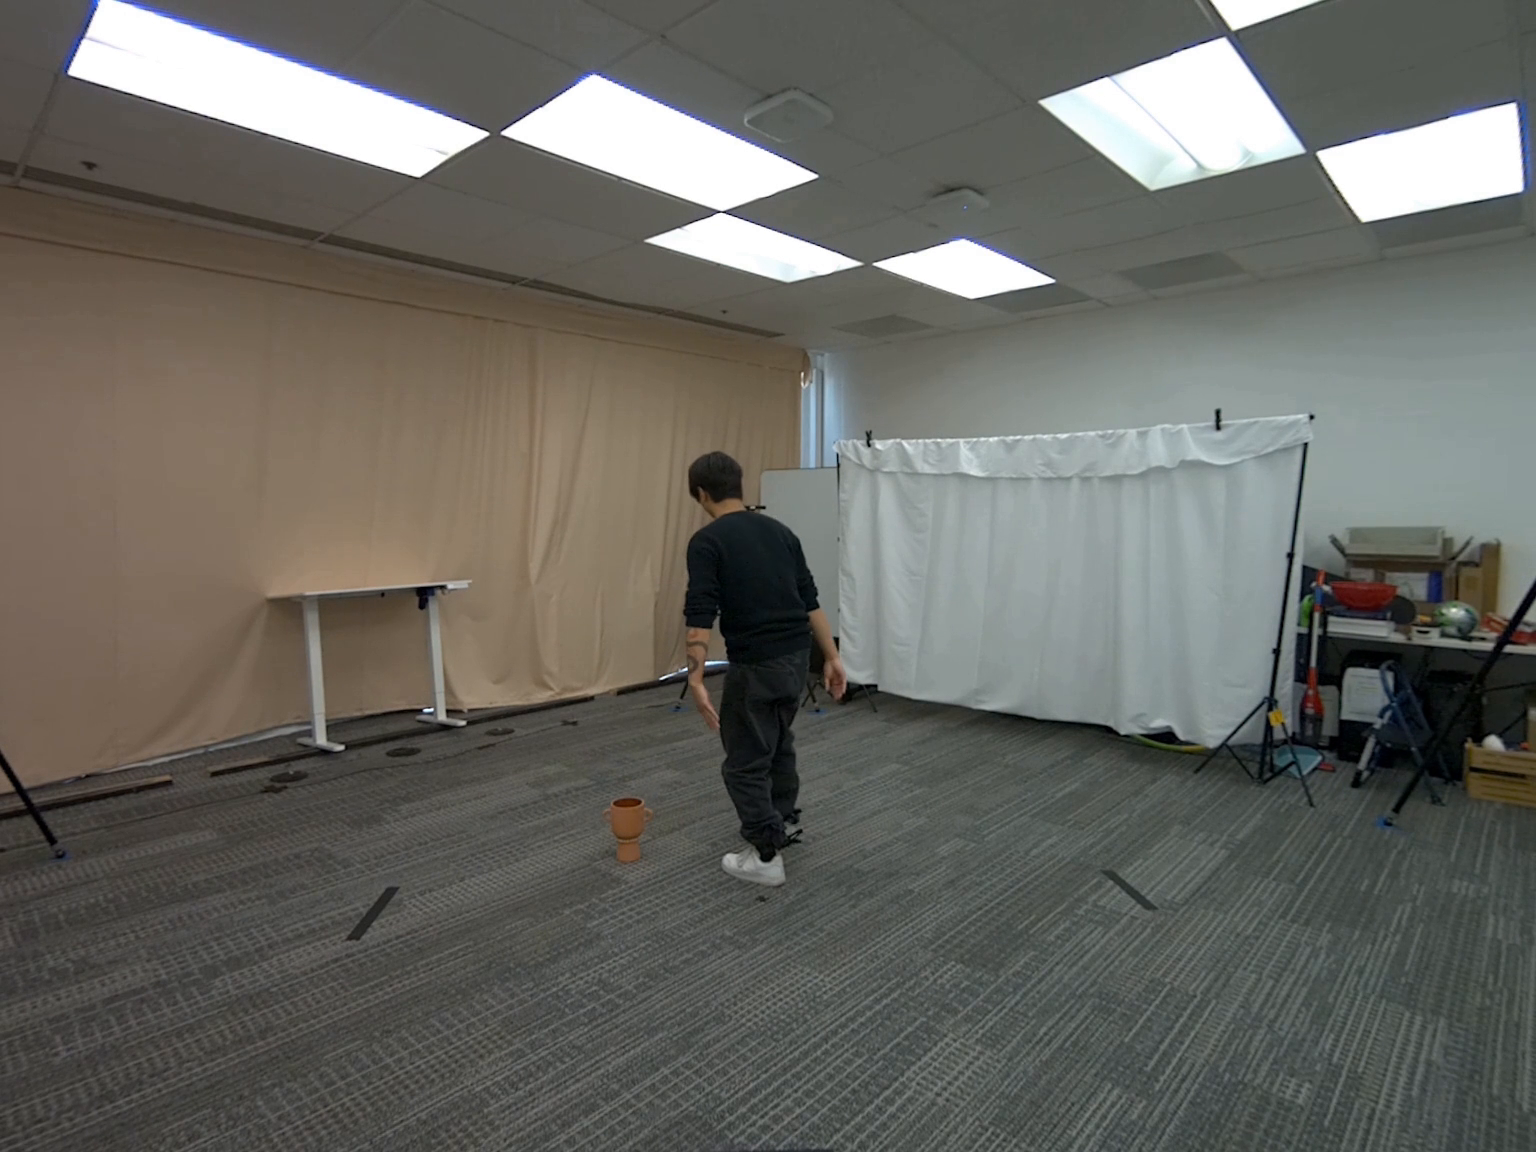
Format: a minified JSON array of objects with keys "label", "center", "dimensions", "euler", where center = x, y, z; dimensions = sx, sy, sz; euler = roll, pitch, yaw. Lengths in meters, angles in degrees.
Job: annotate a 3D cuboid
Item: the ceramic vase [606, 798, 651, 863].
[{"label":"ceramic vase","center":[-0.561,1.010,3.342],"dimensions":[0.164,0.219,0.130],"euler":[1,3,38]}]
